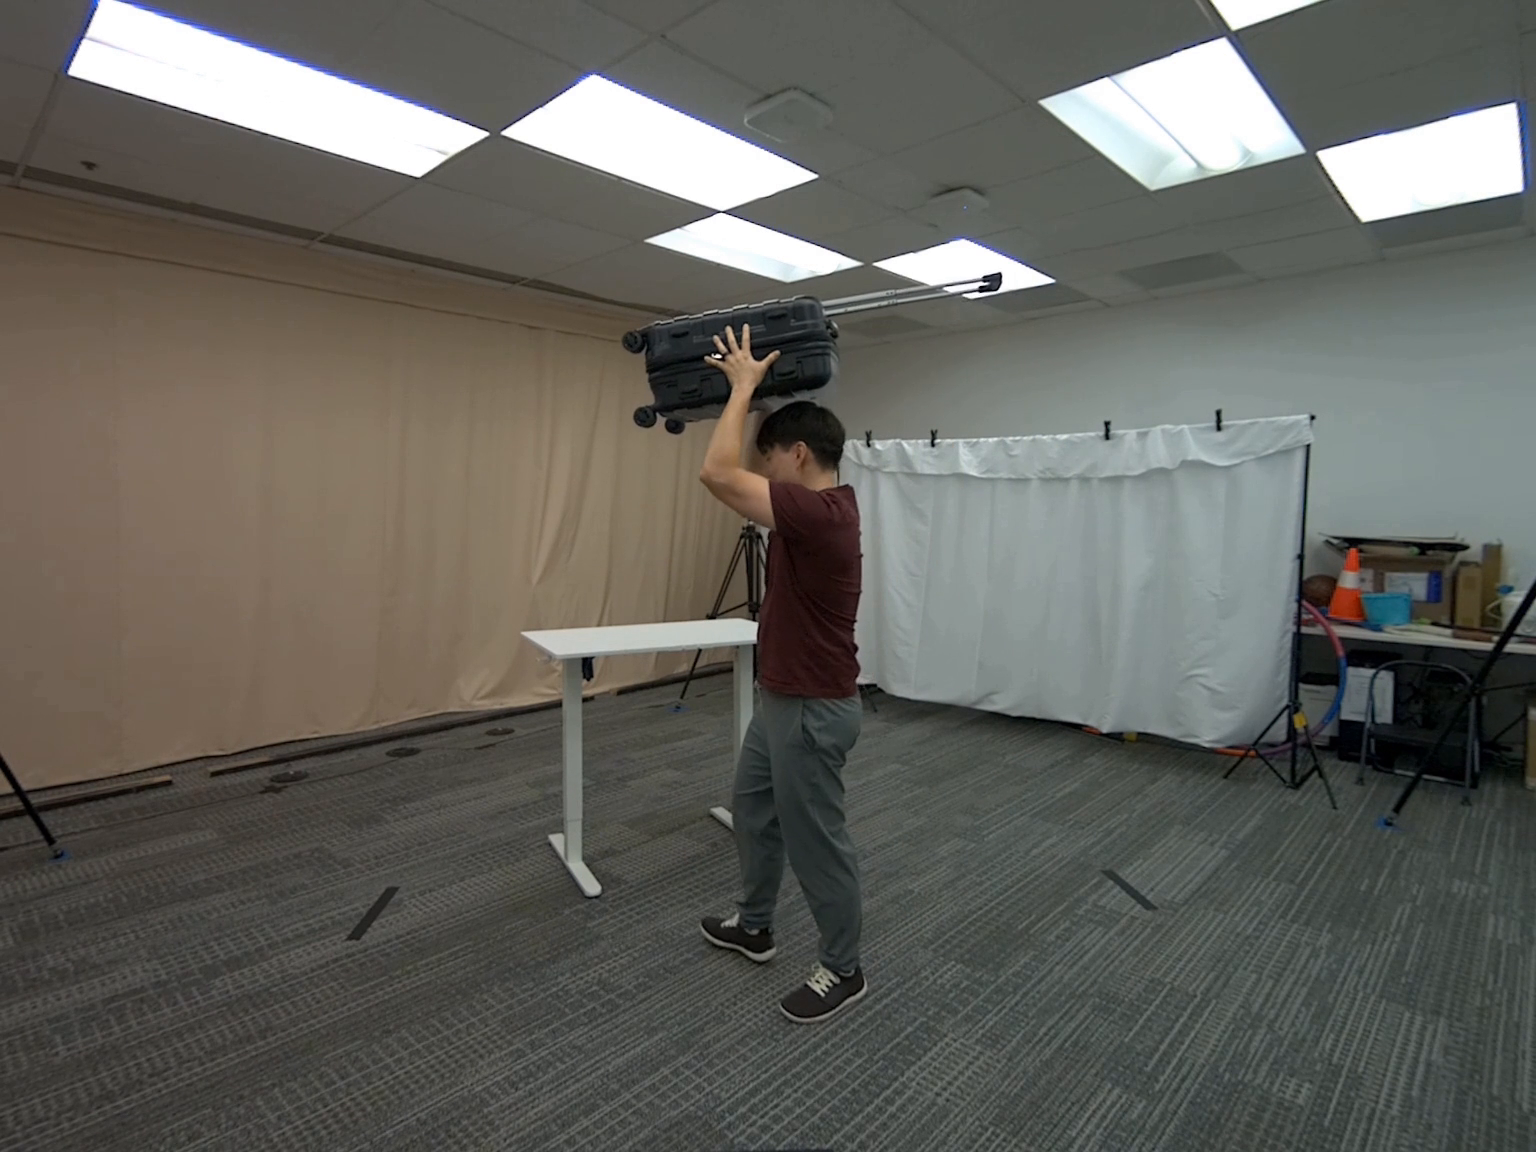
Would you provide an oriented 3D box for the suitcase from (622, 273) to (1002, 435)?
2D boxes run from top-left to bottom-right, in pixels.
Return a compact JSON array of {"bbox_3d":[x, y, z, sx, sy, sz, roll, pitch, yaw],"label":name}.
[{"bbox_3d":[0.129,-0.612,2.290,0.991,0.256,0.380,-6,6,12],"label":"suitcase"}]
